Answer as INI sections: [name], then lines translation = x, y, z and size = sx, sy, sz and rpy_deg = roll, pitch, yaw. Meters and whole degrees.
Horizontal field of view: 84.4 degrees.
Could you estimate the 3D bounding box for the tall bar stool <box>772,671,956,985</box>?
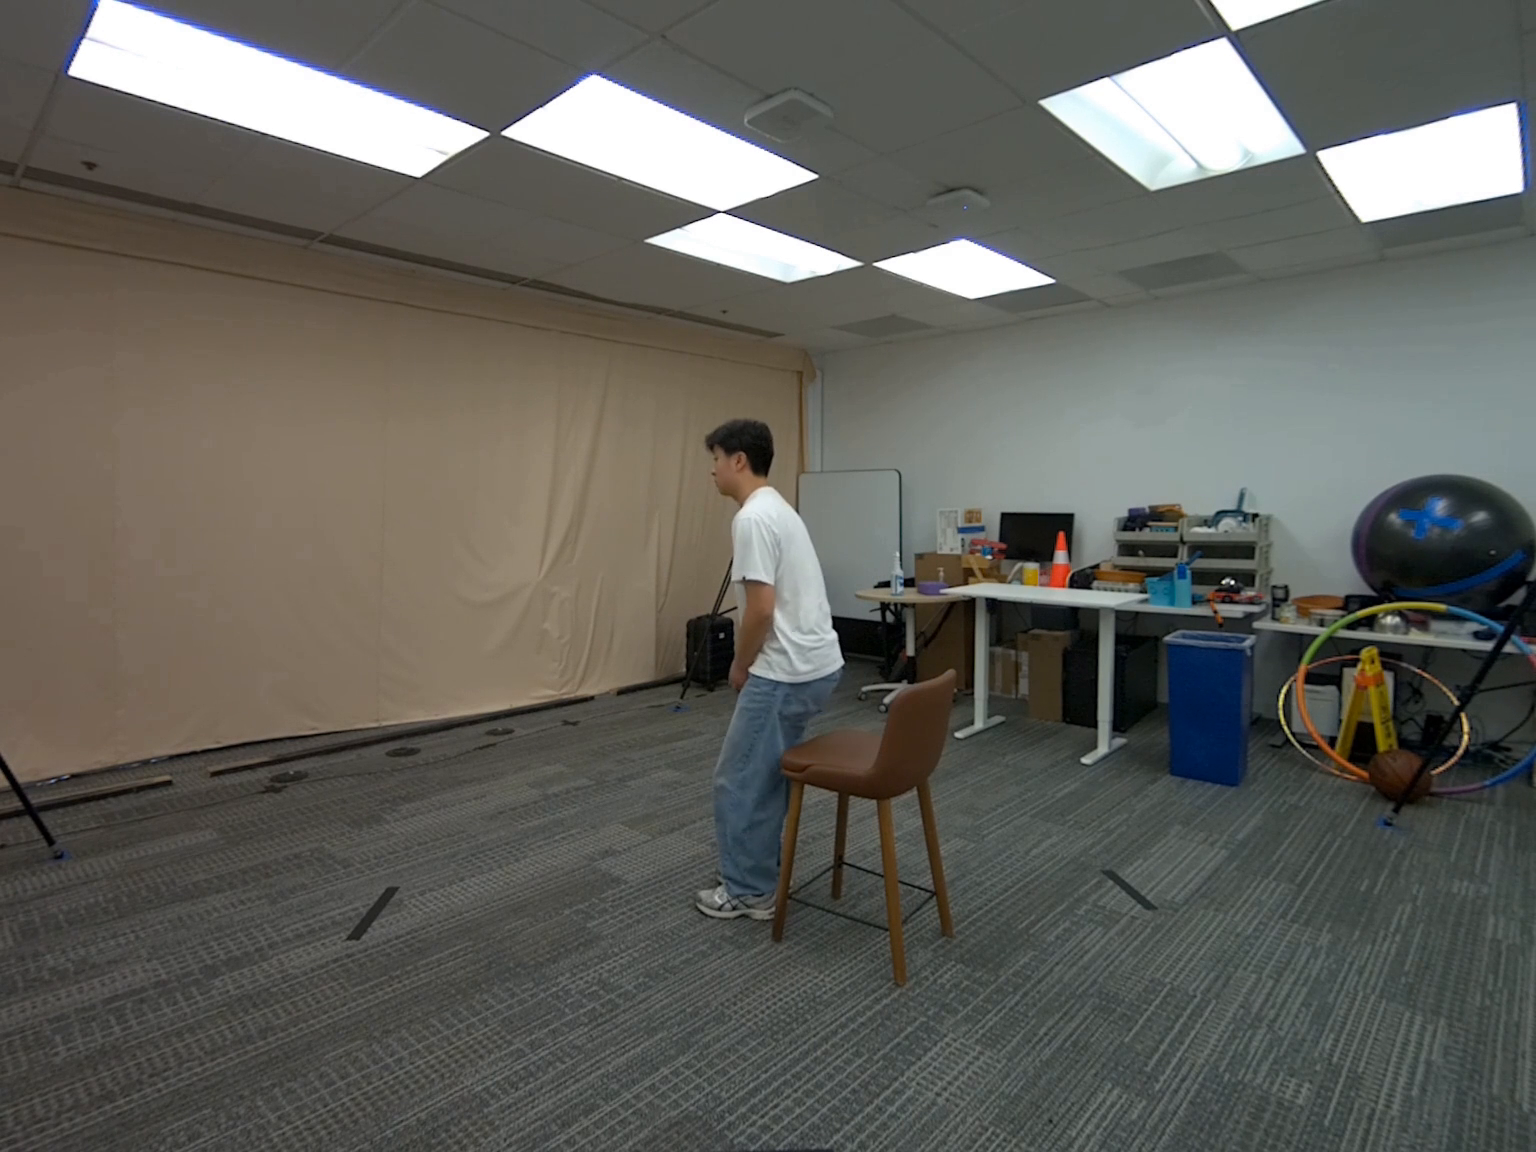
[tall bar stool]
translation = 0.320, 0.730, 2.685
size = 0.483, 0.887, 0.443
rpy_deg = 5, 6, 36
